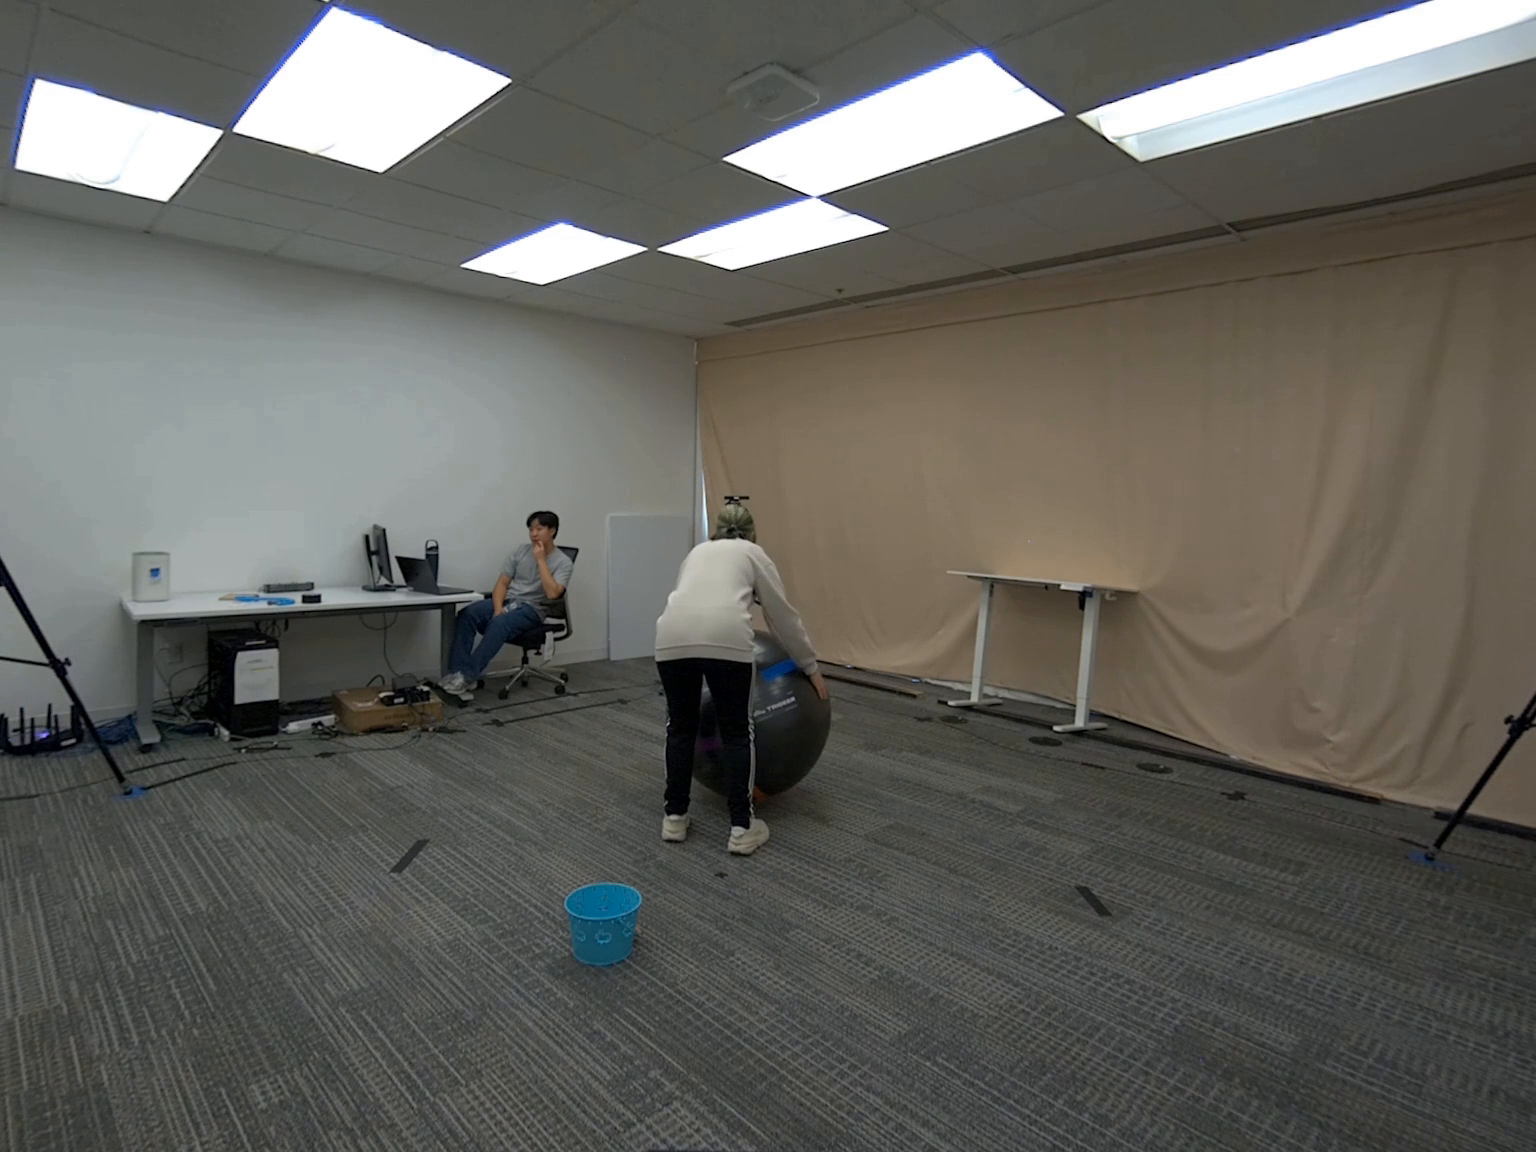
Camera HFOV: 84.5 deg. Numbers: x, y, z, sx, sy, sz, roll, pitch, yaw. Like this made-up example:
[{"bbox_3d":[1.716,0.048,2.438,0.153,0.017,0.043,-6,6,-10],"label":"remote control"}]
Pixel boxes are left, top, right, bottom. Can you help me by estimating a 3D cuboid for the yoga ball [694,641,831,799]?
[{"bbox_3d":[-0.100,0.620,3.854,0.757,0.756,0.761,1,4,-1],"label":"yoga ball"}]
